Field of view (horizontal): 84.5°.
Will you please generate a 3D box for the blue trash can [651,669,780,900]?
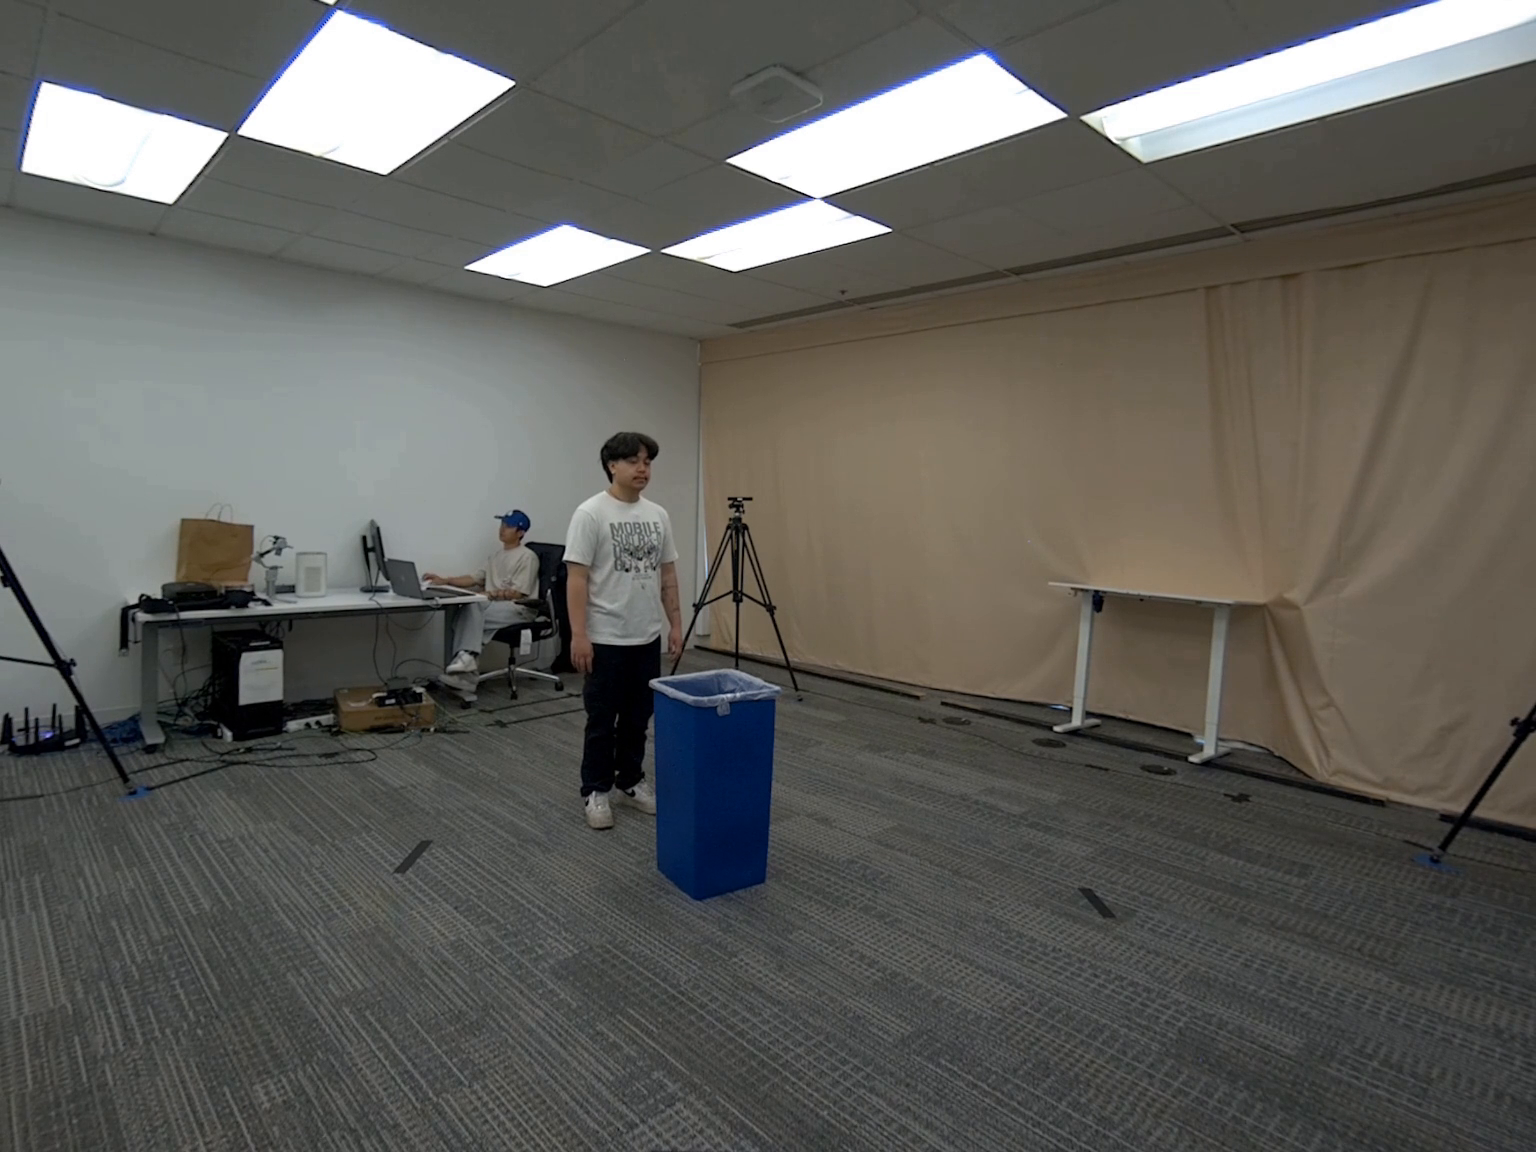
[{"bbox_3d":[-0.215,0.748,3.095,0.370,0.712,0.383,-1,4,-34],"label":"blue trash can"}]
